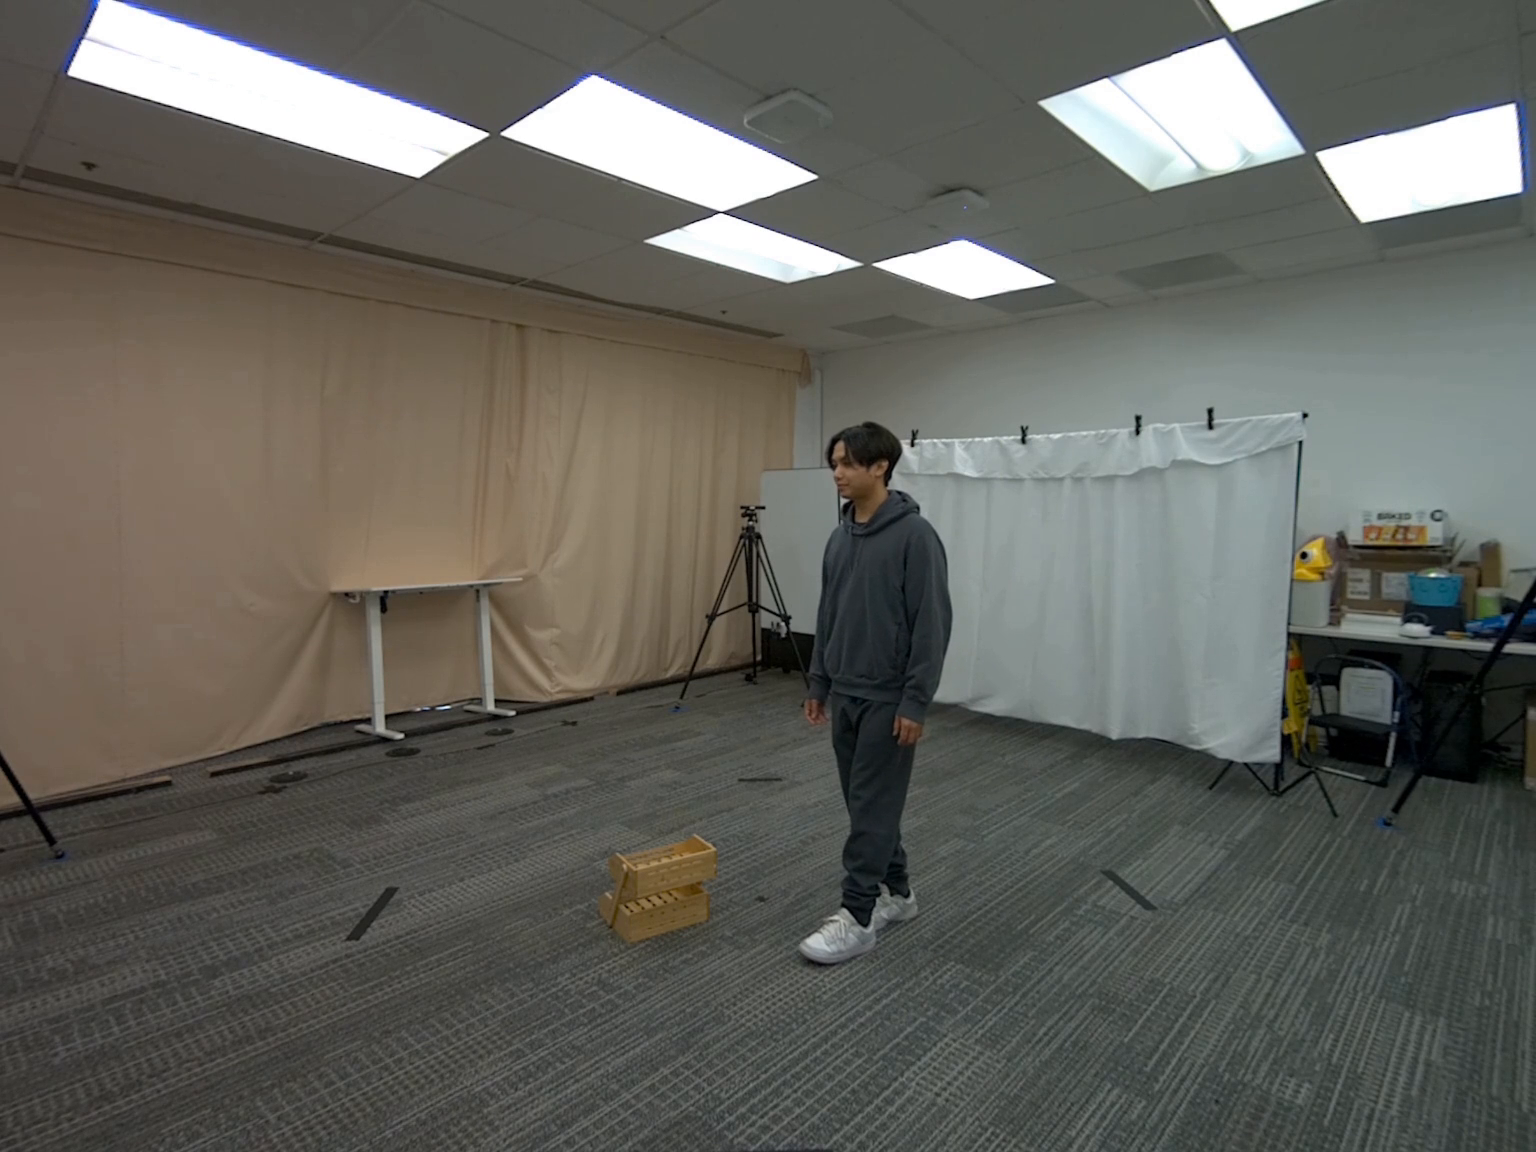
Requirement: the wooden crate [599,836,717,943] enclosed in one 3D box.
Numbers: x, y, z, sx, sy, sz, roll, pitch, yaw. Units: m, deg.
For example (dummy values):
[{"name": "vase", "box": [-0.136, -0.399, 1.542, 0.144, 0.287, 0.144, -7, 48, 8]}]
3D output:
[{"name": "wooden crate", "box": [-0.375, 1.027, 2.839, 0.315, 0.273, 0.311, -3, 5, -33]}]
